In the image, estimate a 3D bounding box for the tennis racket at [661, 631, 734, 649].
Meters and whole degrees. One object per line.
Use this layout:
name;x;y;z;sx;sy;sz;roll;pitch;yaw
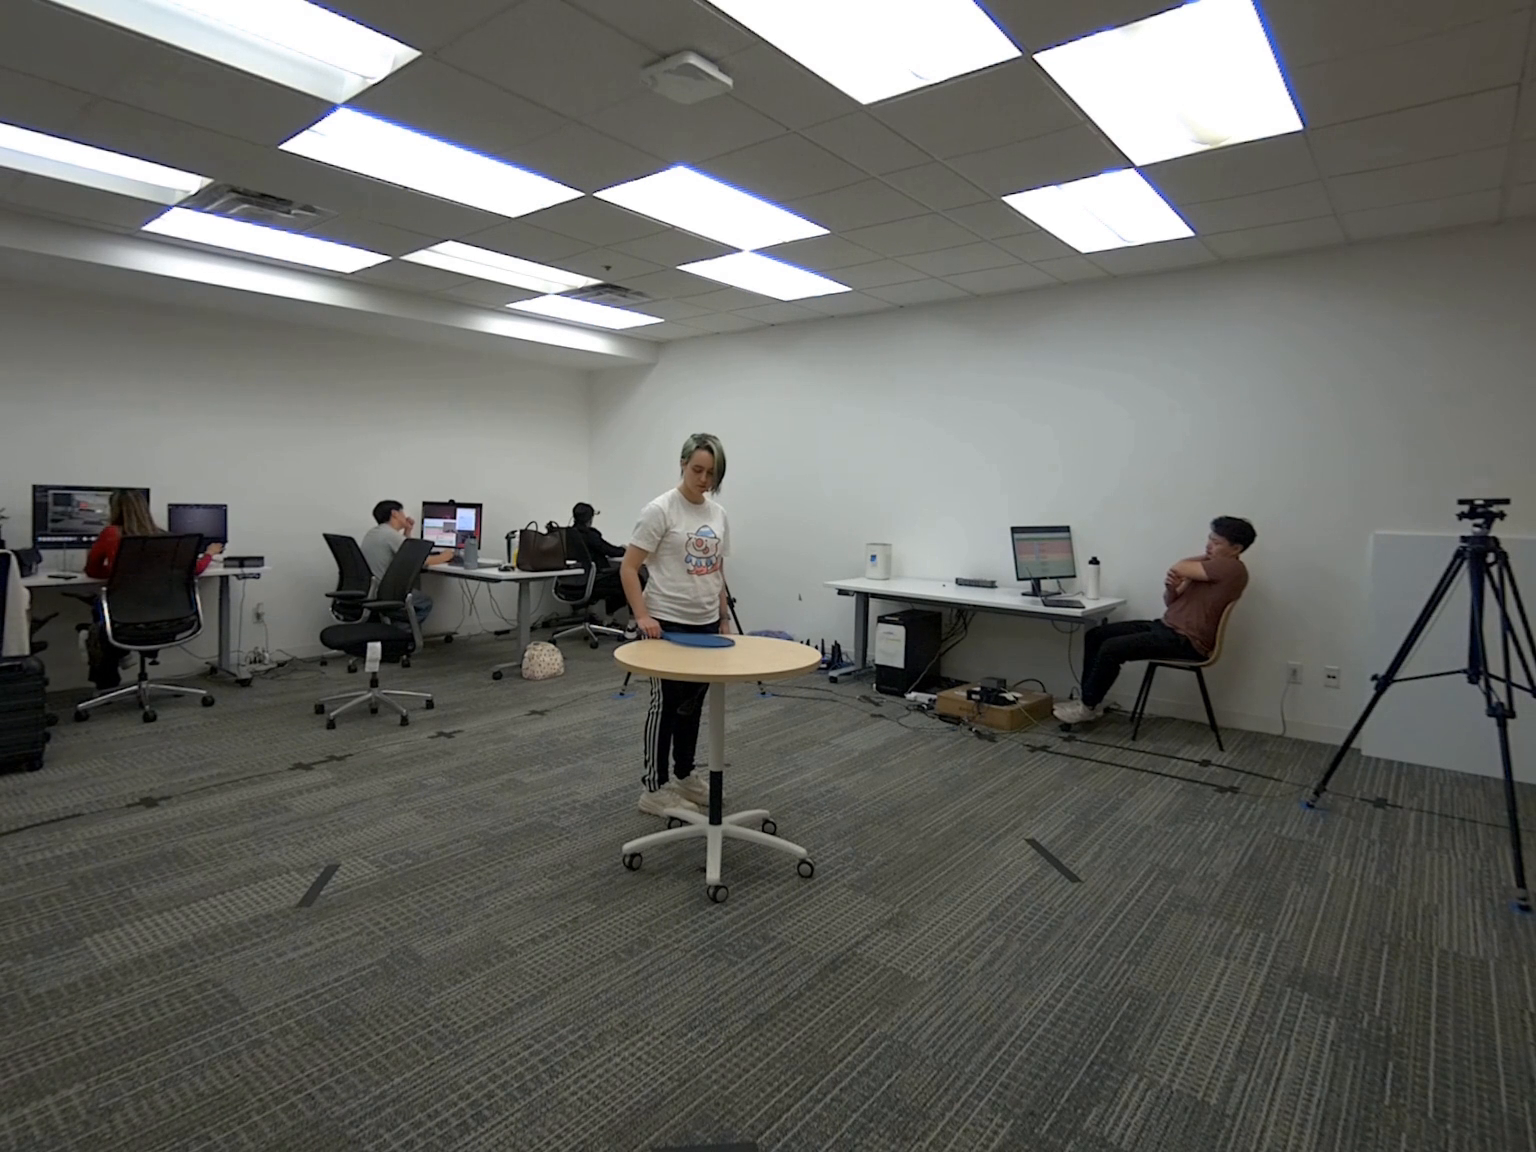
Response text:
tennis racket;-0.341;0.244;3.386;0.445;0.031;0.209;6;7;28
